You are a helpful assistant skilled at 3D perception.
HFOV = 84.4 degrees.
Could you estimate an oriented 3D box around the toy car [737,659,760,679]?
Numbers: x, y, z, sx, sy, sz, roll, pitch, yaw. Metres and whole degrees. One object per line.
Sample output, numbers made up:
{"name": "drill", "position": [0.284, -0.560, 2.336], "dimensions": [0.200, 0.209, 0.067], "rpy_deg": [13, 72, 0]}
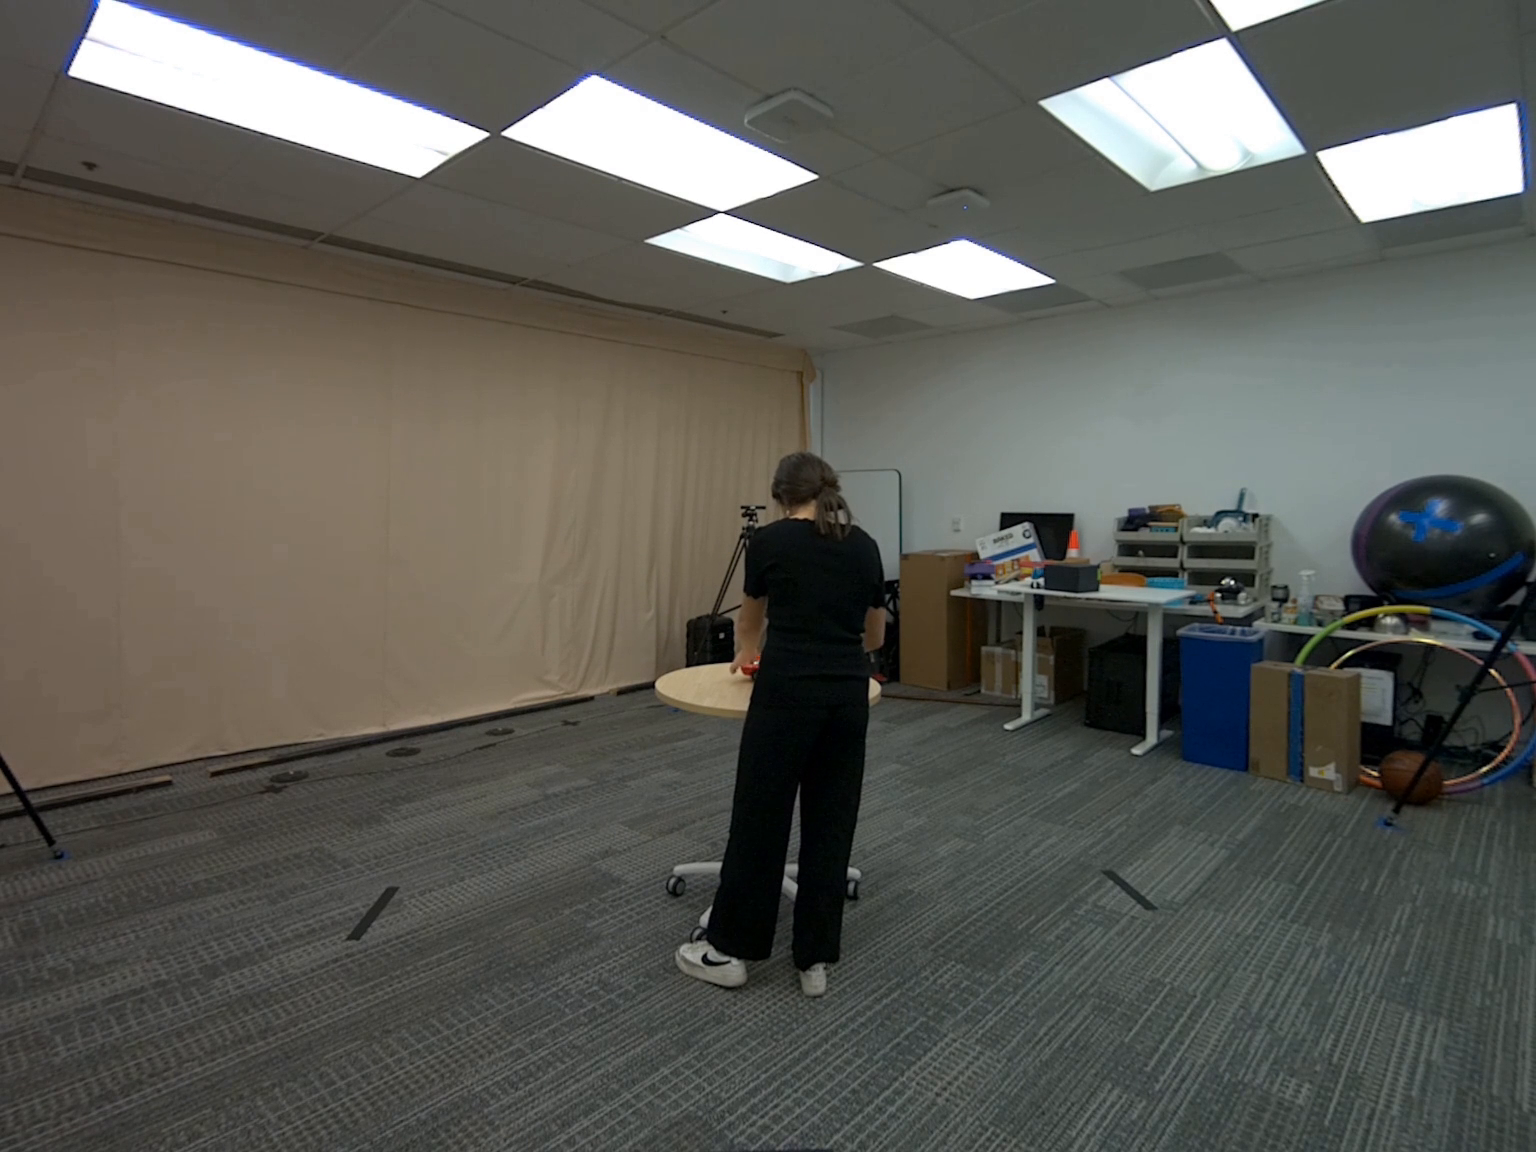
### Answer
{"name": "toy car", "position": [0.026, 0.331, 2.927], "dimensions": [0.257, 0.083, 0.129], "rpy_deg": [11, 5, 9]}
